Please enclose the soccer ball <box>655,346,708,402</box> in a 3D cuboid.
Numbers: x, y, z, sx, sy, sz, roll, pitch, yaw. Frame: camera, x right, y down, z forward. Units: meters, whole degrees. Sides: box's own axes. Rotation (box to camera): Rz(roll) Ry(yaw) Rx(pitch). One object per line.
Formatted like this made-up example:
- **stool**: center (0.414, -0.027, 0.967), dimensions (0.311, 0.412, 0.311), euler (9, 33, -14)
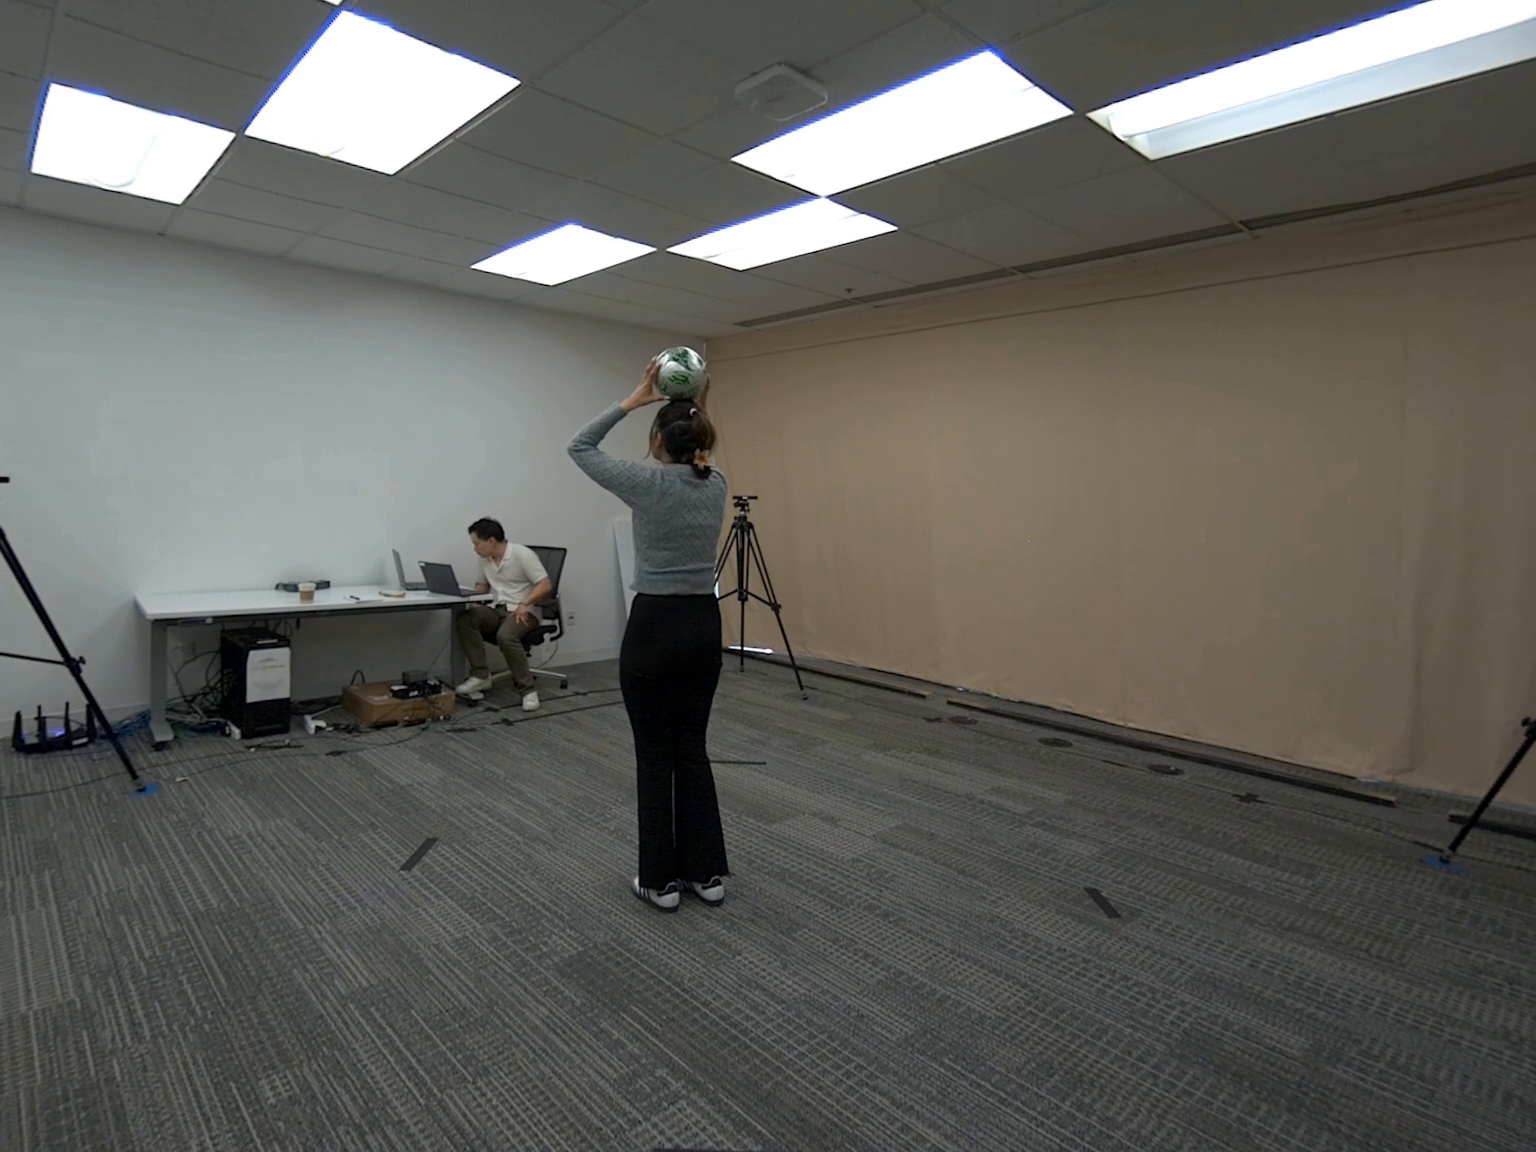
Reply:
- **soccer ball**: center (-0.310, -0.685, 2.862), dimensions (0.187, 0.187, 0.188), euler (1, 4, -1)
